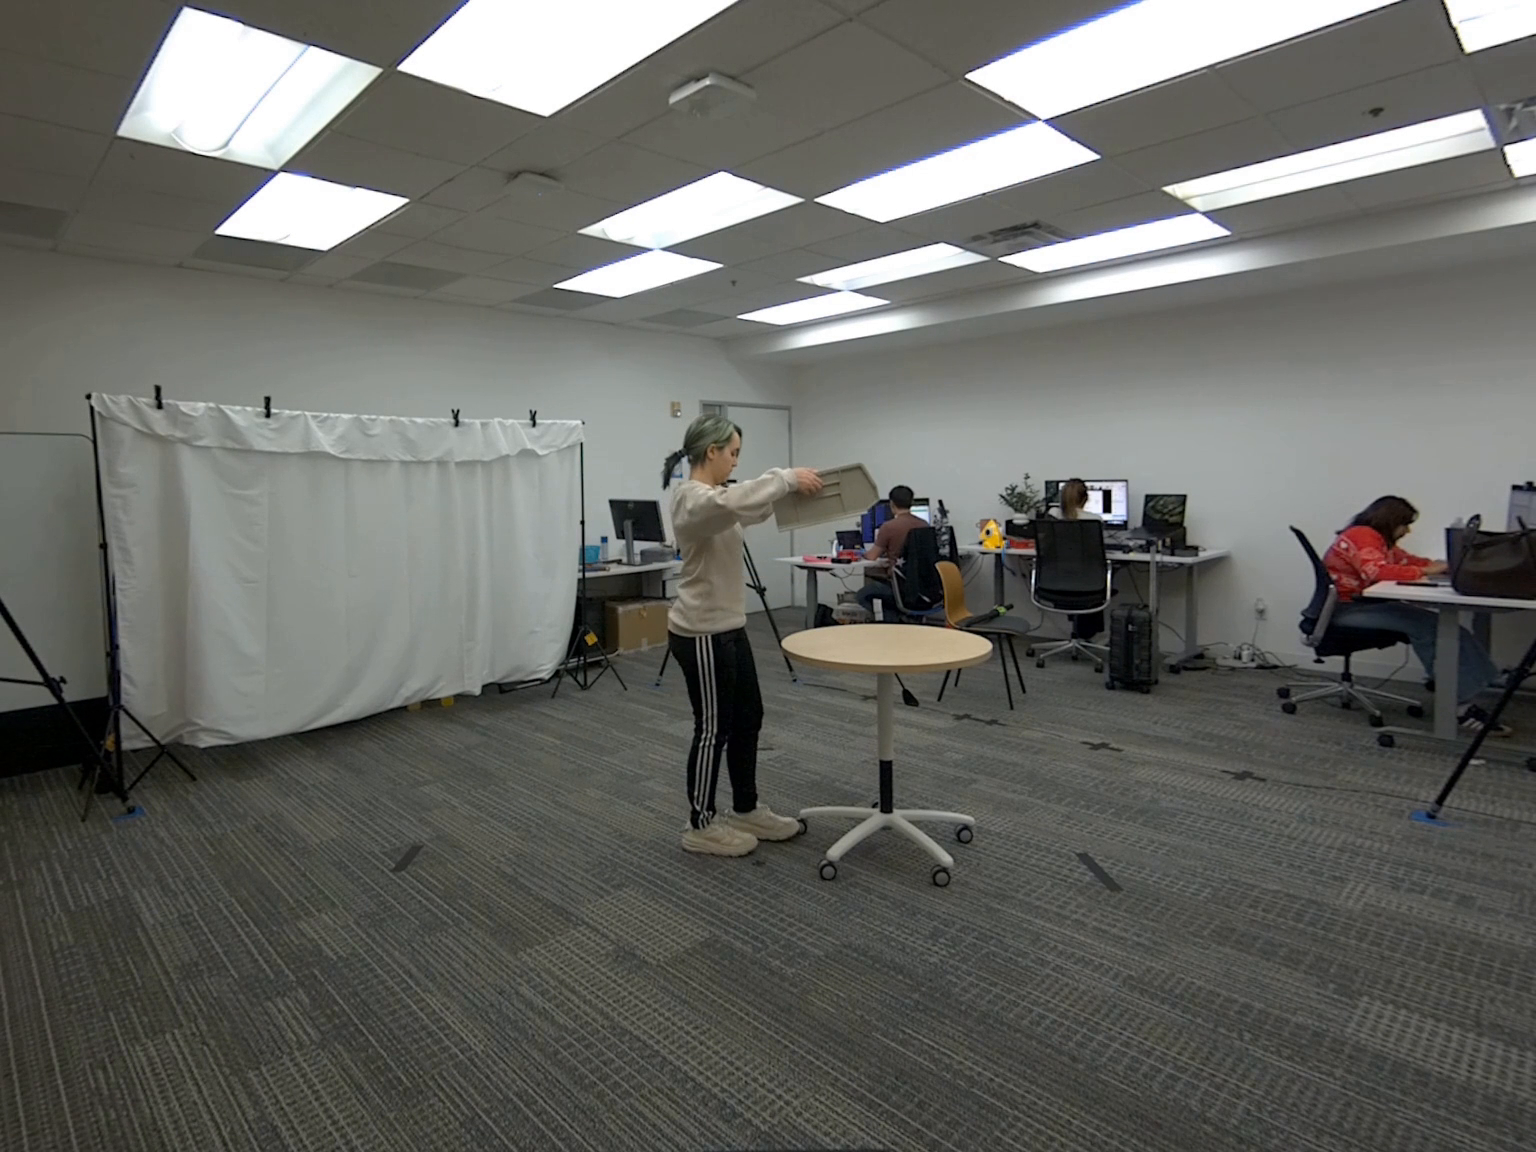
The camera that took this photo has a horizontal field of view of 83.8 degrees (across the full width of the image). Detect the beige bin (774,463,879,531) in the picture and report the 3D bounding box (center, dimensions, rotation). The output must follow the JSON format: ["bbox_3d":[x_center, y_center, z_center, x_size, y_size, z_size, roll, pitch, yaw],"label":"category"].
[{"bbox_3d":[0.208,-0.294,3.157,0.379,0.188,0.421,-12,4,7],"label":"beige bin"}]
